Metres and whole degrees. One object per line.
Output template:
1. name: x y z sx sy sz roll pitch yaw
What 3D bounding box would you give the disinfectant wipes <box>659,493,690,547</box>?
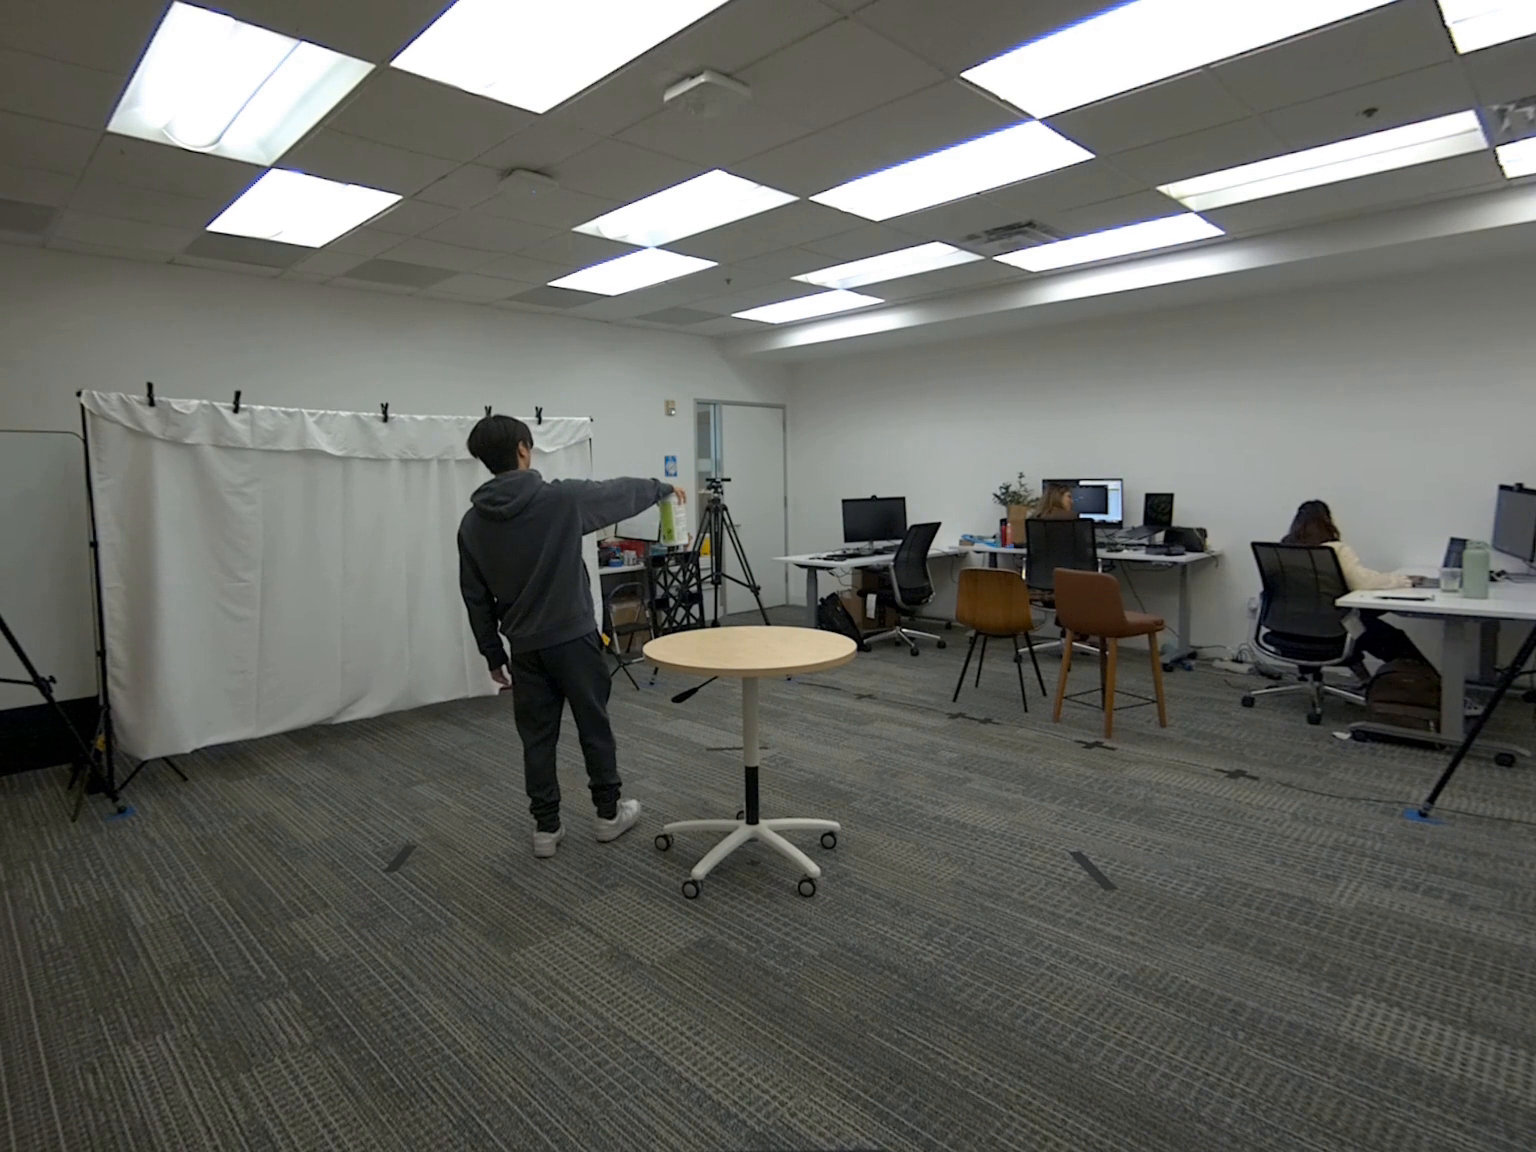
1. disinfectant wipes: -0.396 -0.238 3.619 0.118 0.217 0.118 -1 2 -2
